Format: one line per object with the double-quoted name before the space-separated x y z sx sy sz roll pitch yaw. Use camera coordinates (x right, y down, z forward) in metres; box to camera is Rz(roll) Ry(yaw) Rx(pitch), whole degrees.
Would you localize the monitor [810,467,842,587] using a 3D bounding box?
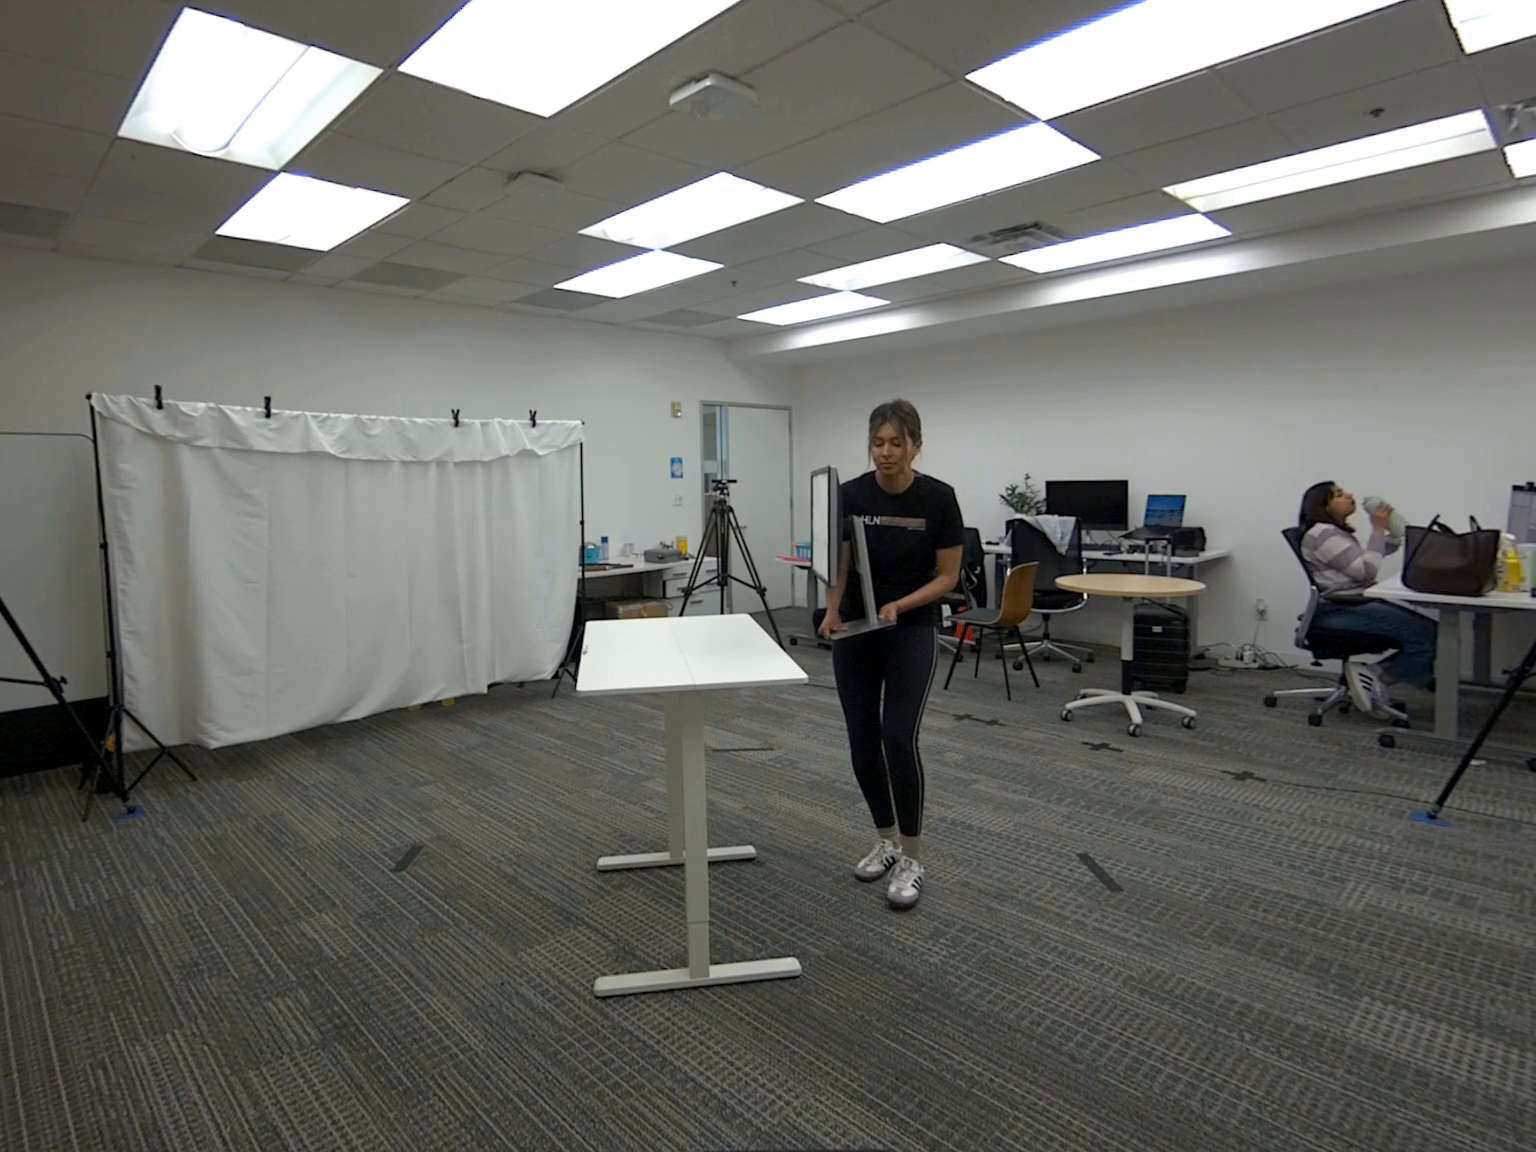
"monitor" 0.242 -0.085 2.803 0.187 0.521 0.541 -11 3 -3
